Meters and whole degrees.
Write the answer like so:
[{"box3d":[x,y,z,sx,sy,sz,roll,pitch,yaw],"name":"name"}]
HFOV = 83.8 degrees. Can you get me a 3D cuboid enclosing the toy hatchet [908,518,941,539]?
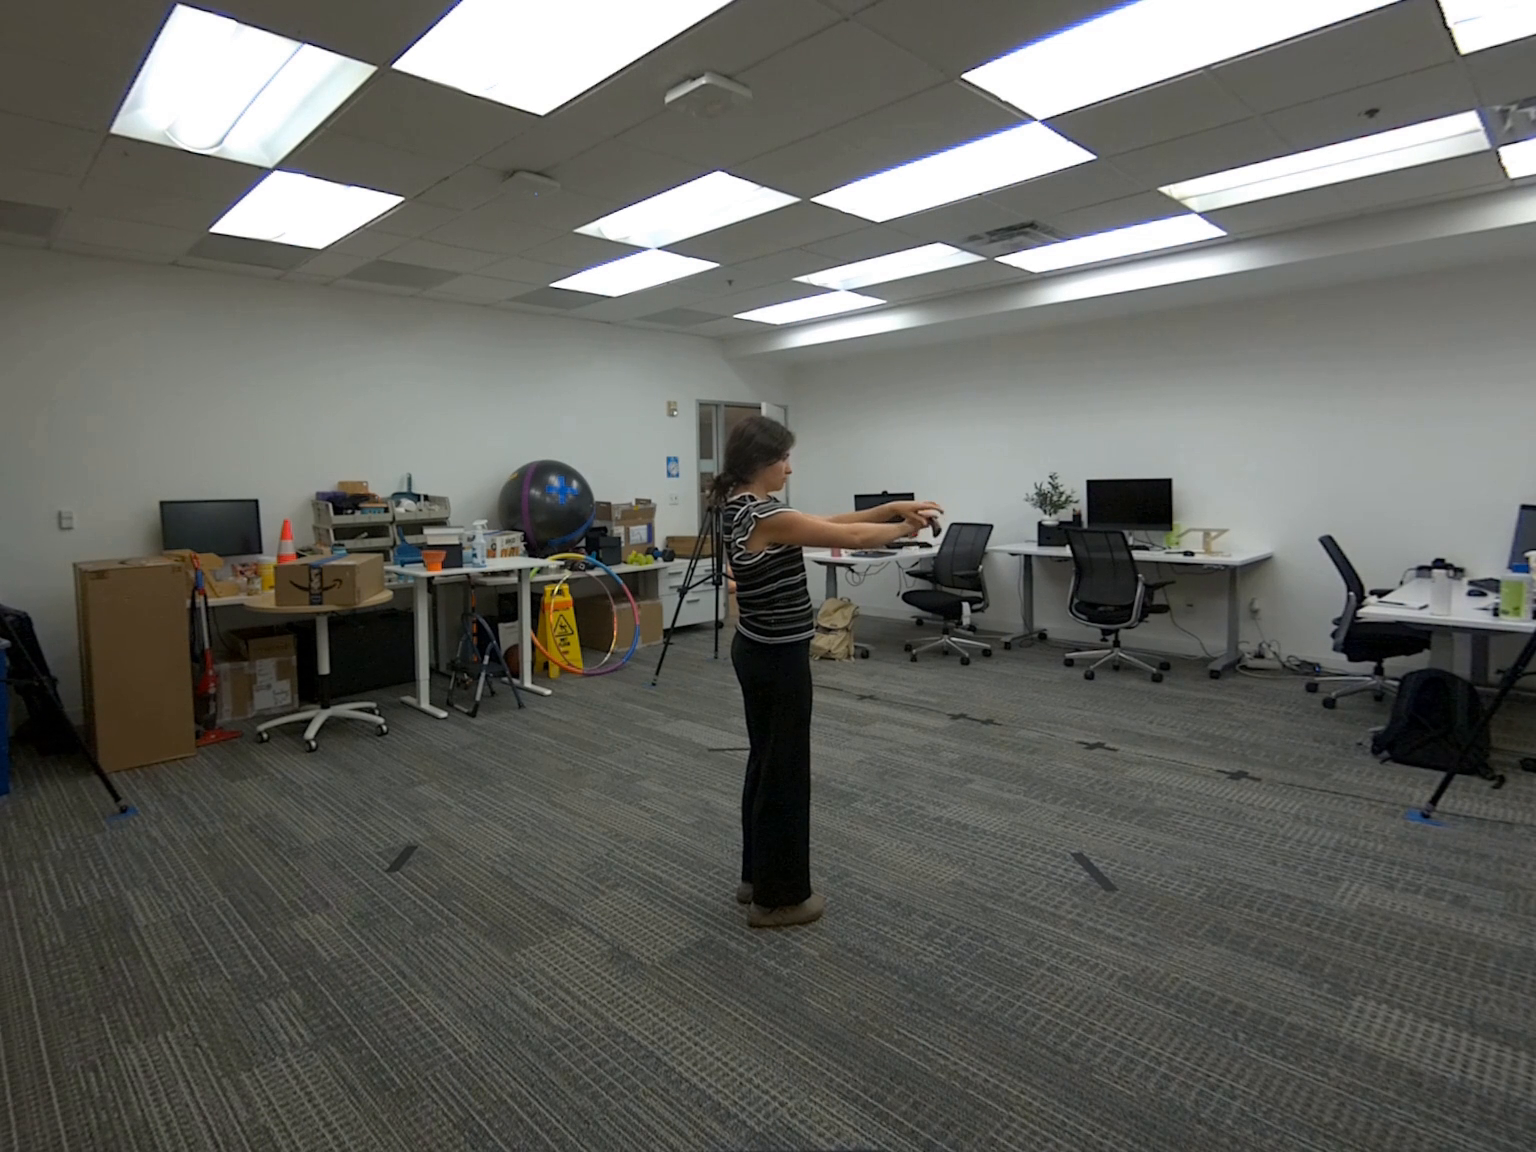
[{"box3d":[0.527,-0.154,2.765,0.029,0.130,0.273,18,15,-6],"name":"toy hatchet"}]
